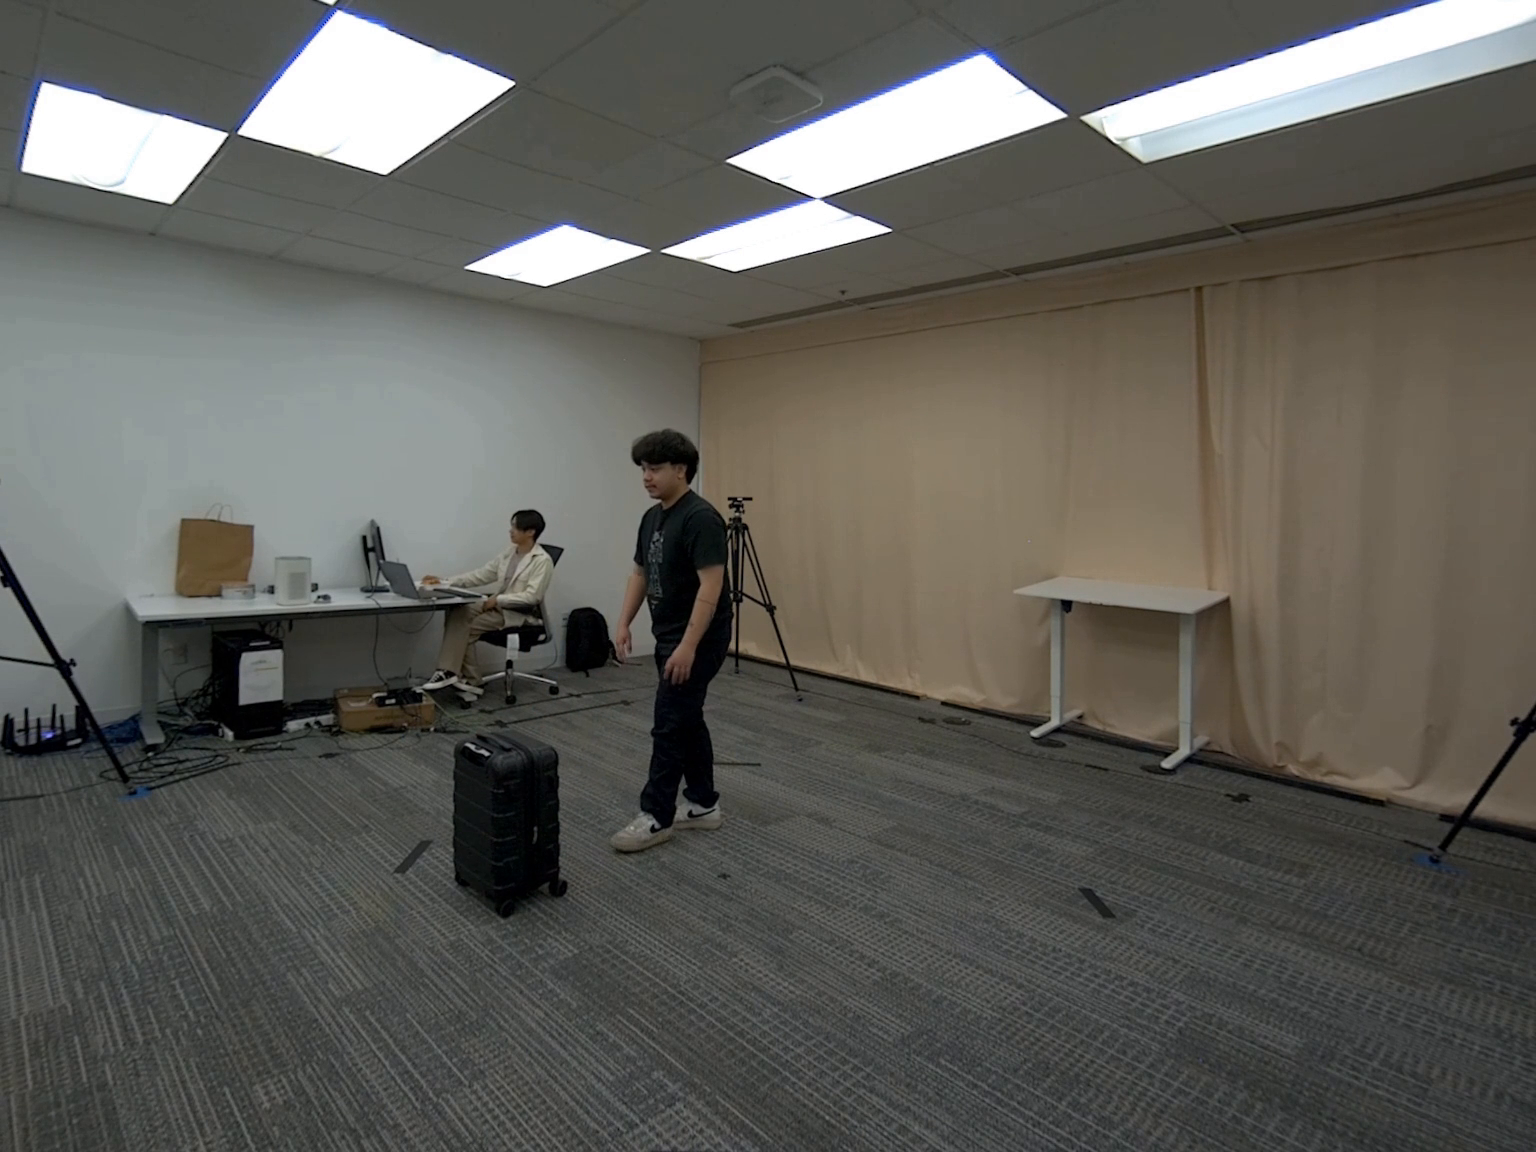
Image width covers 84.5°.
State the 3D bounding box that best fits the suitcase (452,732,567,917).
[{"bbox_3d":[-0.922,0.832,2.930,0.243,0.547,0.385,-4,7,-44],"label":"suitcase"}]
